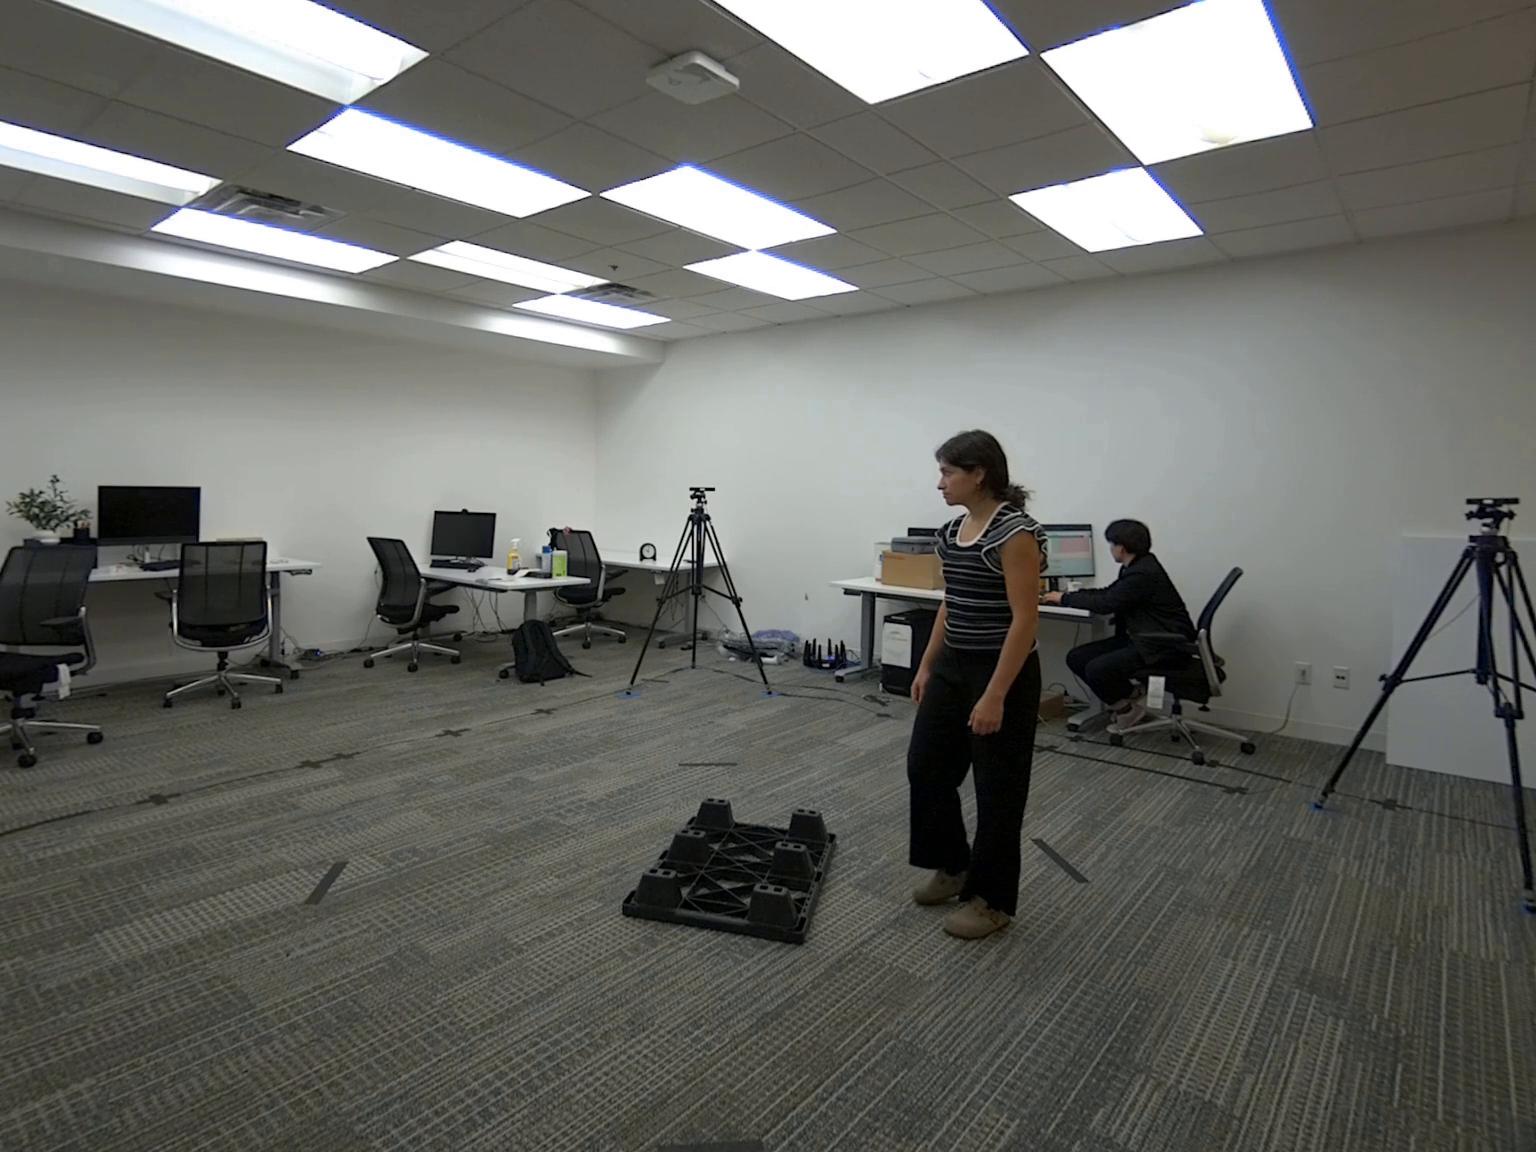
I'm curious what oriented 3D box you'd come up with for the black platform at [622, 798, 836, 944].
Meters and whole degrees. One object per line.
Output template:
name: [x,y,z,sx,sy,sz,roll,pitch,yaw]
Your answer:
black platform: [-0.107,1.007,3.048,0.615,0.143,0.796,2,6,13]
